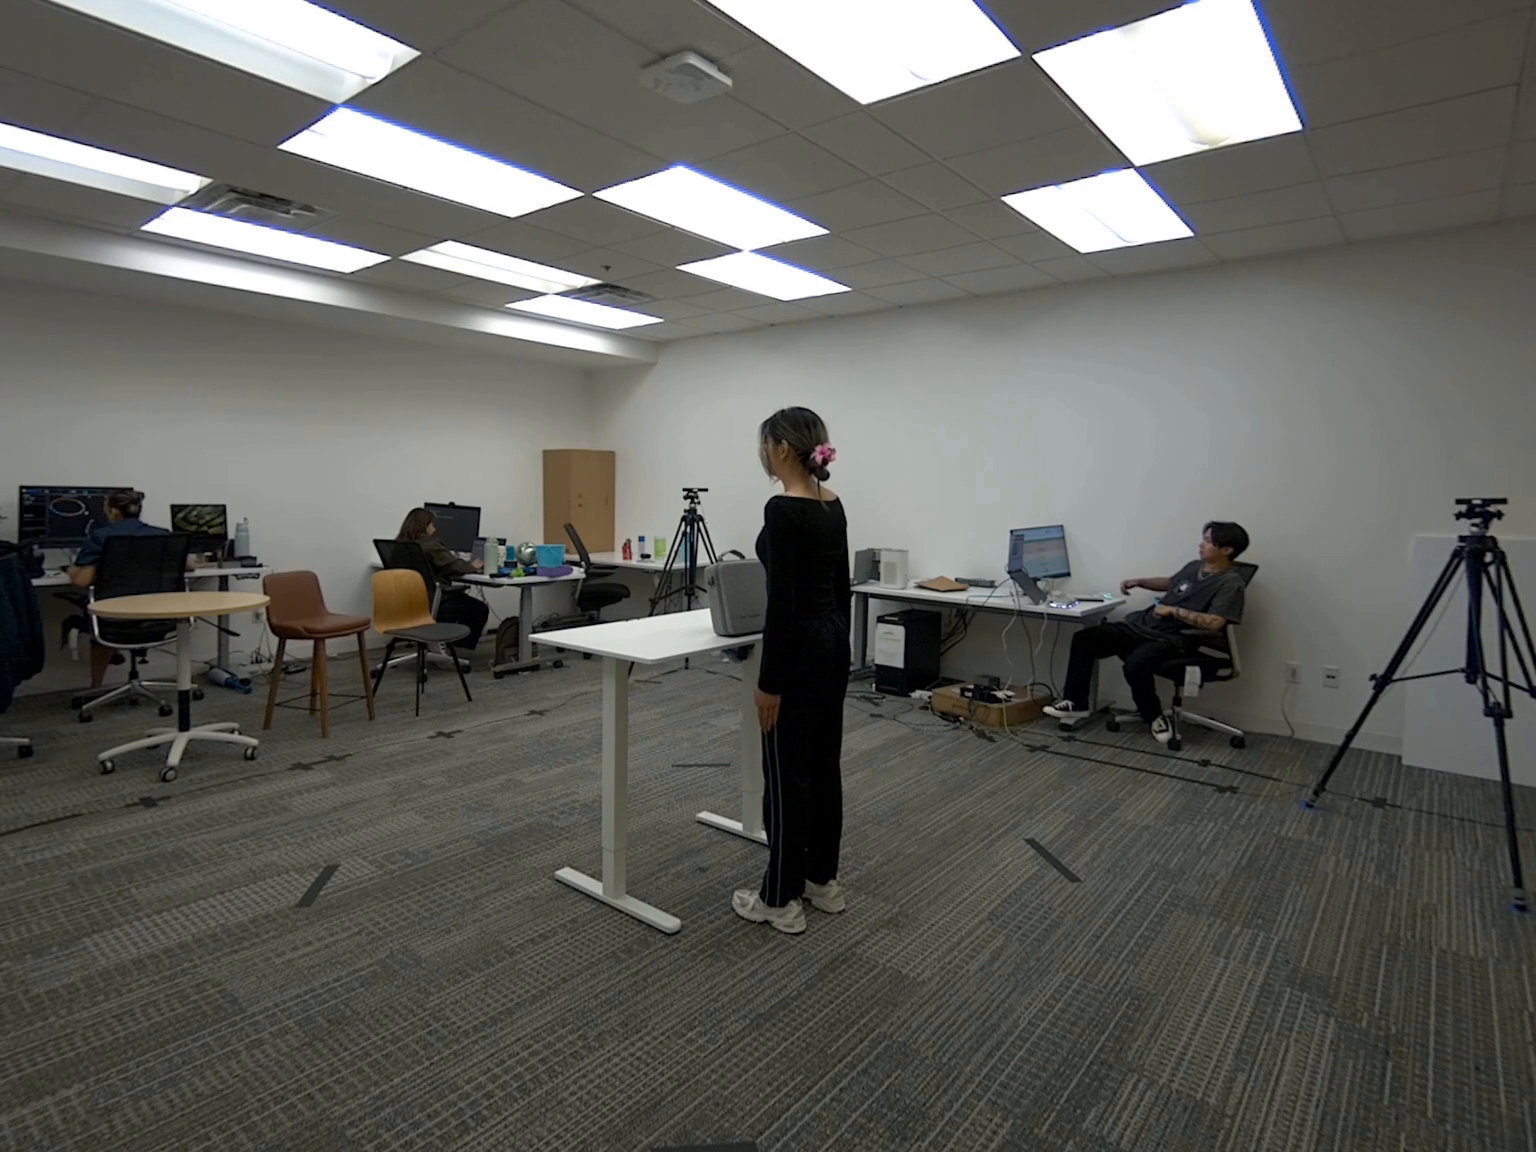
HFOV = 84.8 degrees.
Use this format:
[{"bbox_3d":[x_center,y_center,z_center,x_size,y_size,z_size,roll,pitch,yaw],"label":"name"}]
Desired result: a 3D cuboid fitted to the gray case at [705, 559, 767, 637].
[{"bbox_3d":[-0.100,0.066,2.995,0.249,0.262,0.107,-3,-7,-42],"label":"gray case"}]
